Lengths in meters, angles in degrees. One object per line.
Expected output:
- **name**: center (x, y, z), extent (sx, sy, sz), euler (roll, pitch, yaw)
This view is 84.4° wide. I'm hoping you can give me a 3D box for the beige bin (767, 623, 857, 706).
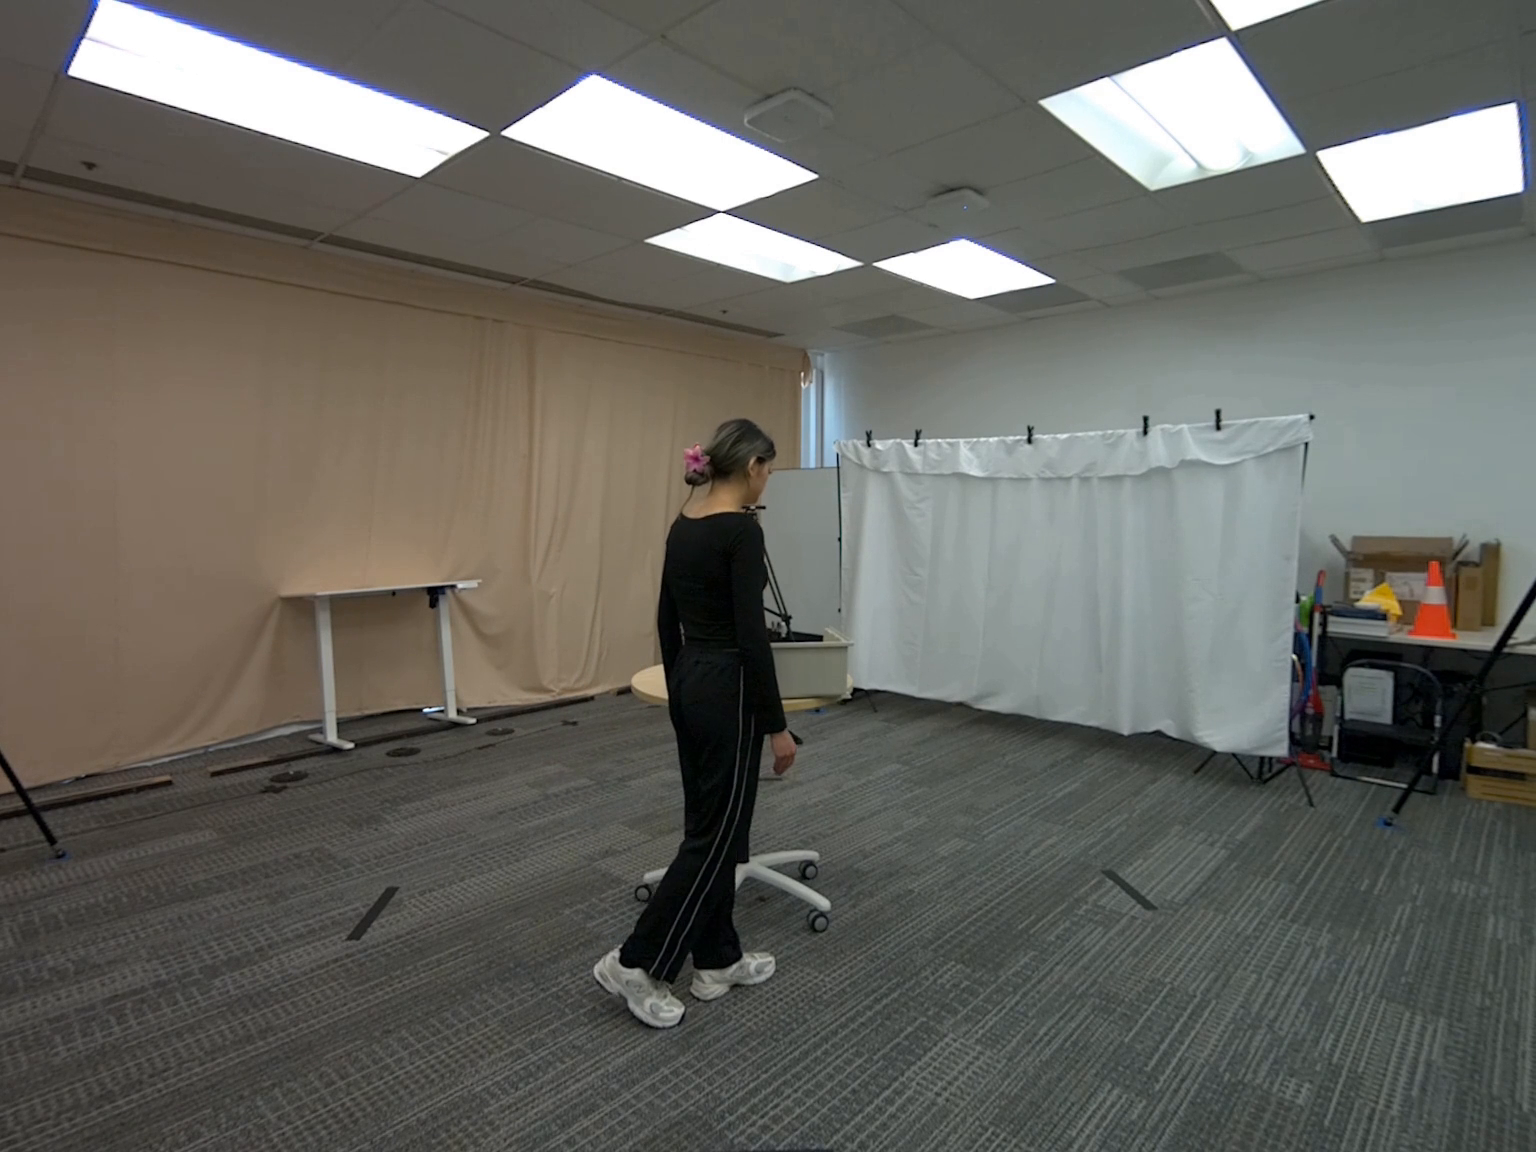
- **beige bin**: center (0.032, 0.279, 2.774), extent (0.420, 0.188, 0.381), euler (-1, 6, -6)
